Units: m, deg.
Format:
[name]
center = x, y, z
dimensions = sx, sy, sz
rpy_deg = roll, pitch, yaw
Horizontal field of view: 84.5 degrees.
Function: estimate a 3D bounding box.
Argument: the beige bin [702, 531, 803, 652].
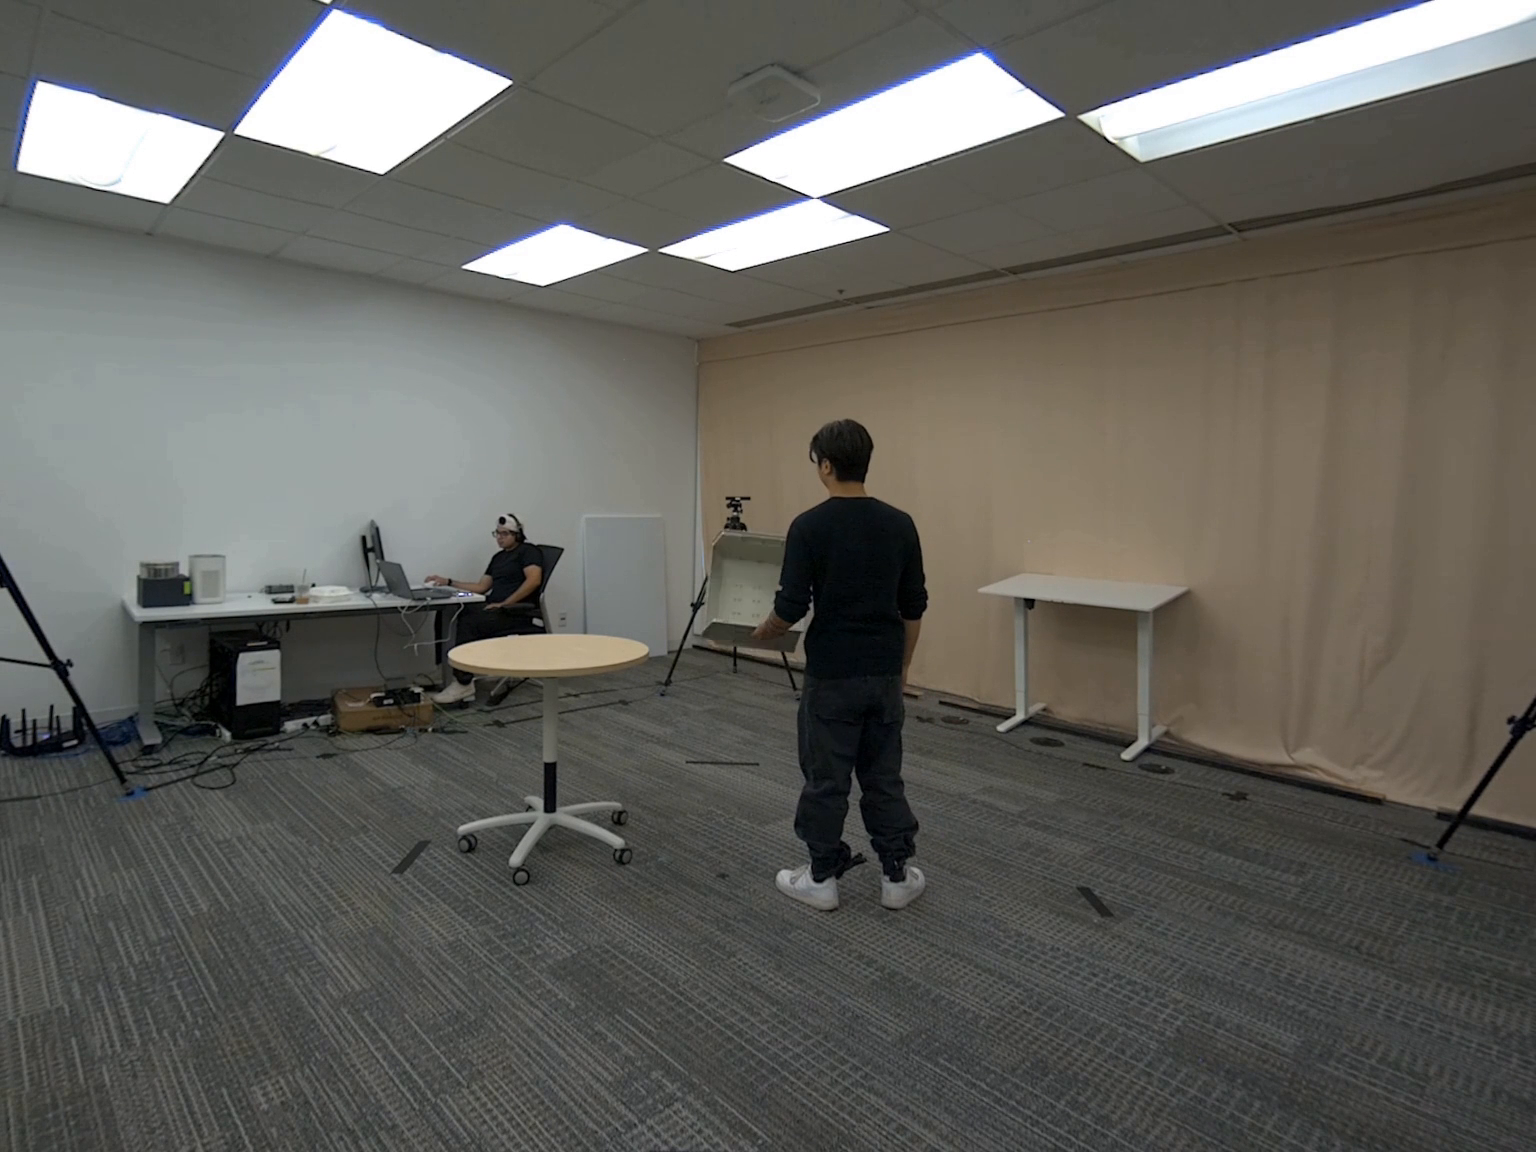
[beige bin]
center = -0.056, 0.061, 3.263
dimensions = 0.376, 0.430, 0.186
rpy_deg = 6, -36, -3
